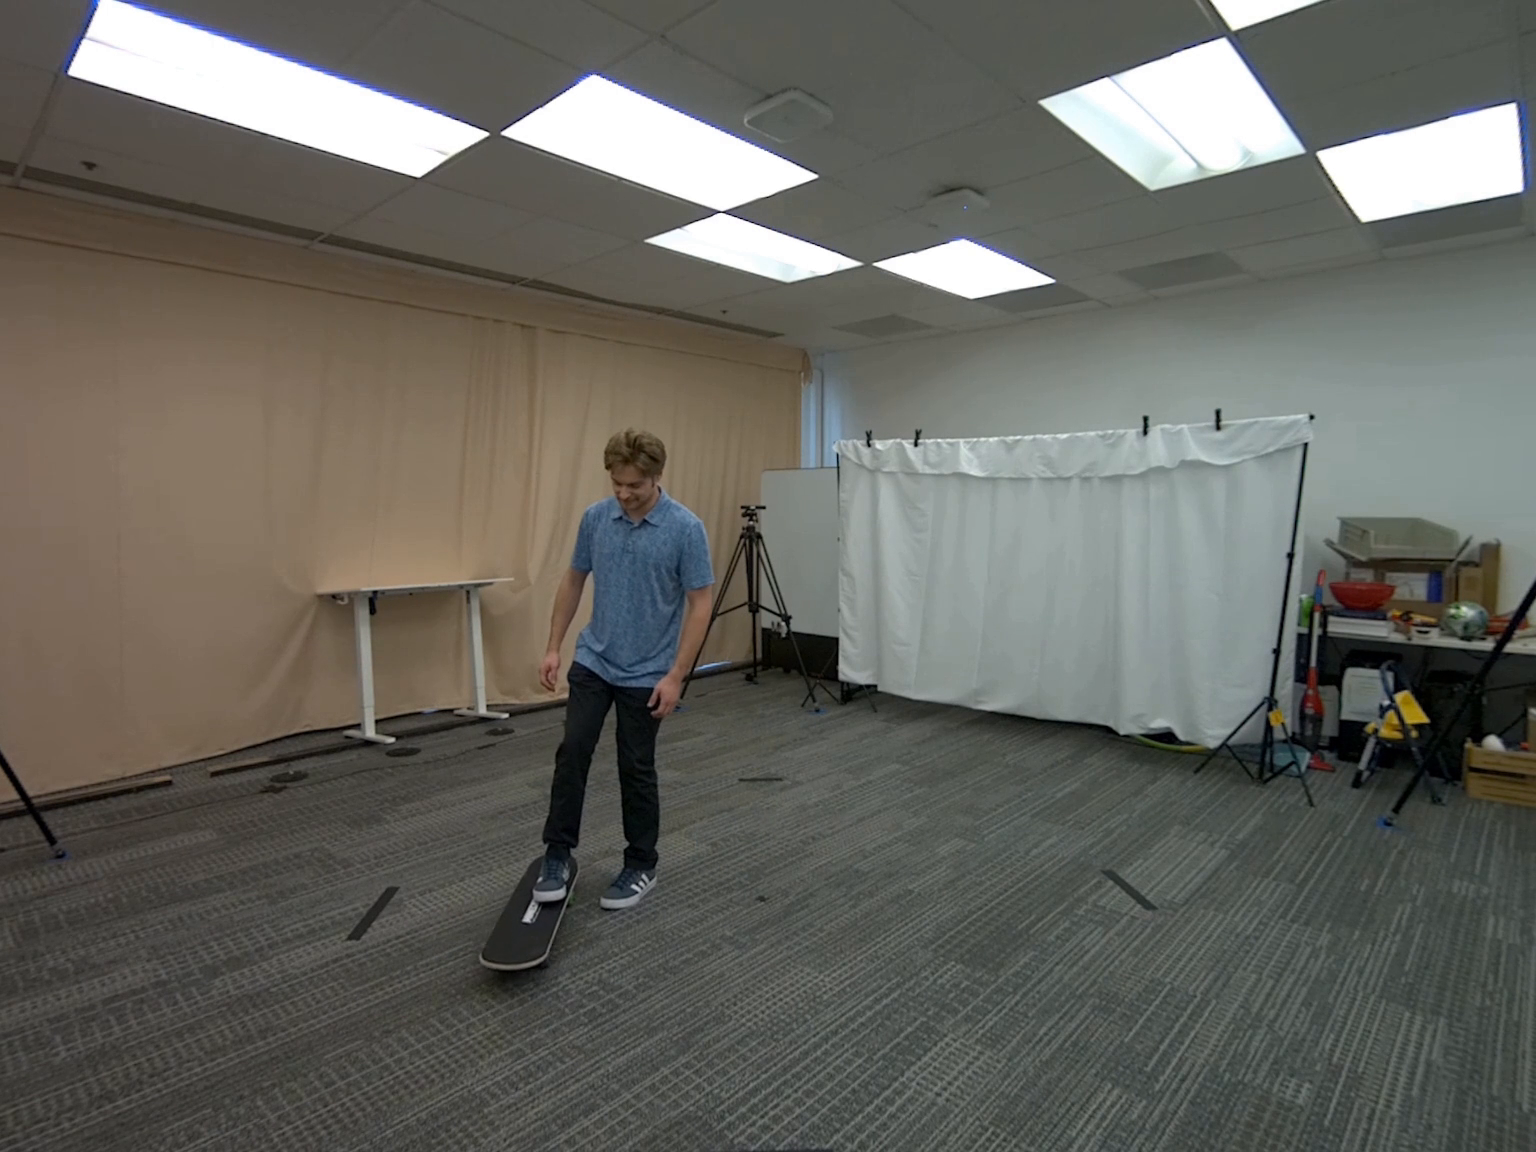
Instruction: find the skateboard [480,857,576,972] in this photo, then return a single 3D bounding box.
[{"bbox_3d":[-0.754,1.109,2.747,0.193,0.110,0.789,0,4,-4],"label":"skateboard"}]
